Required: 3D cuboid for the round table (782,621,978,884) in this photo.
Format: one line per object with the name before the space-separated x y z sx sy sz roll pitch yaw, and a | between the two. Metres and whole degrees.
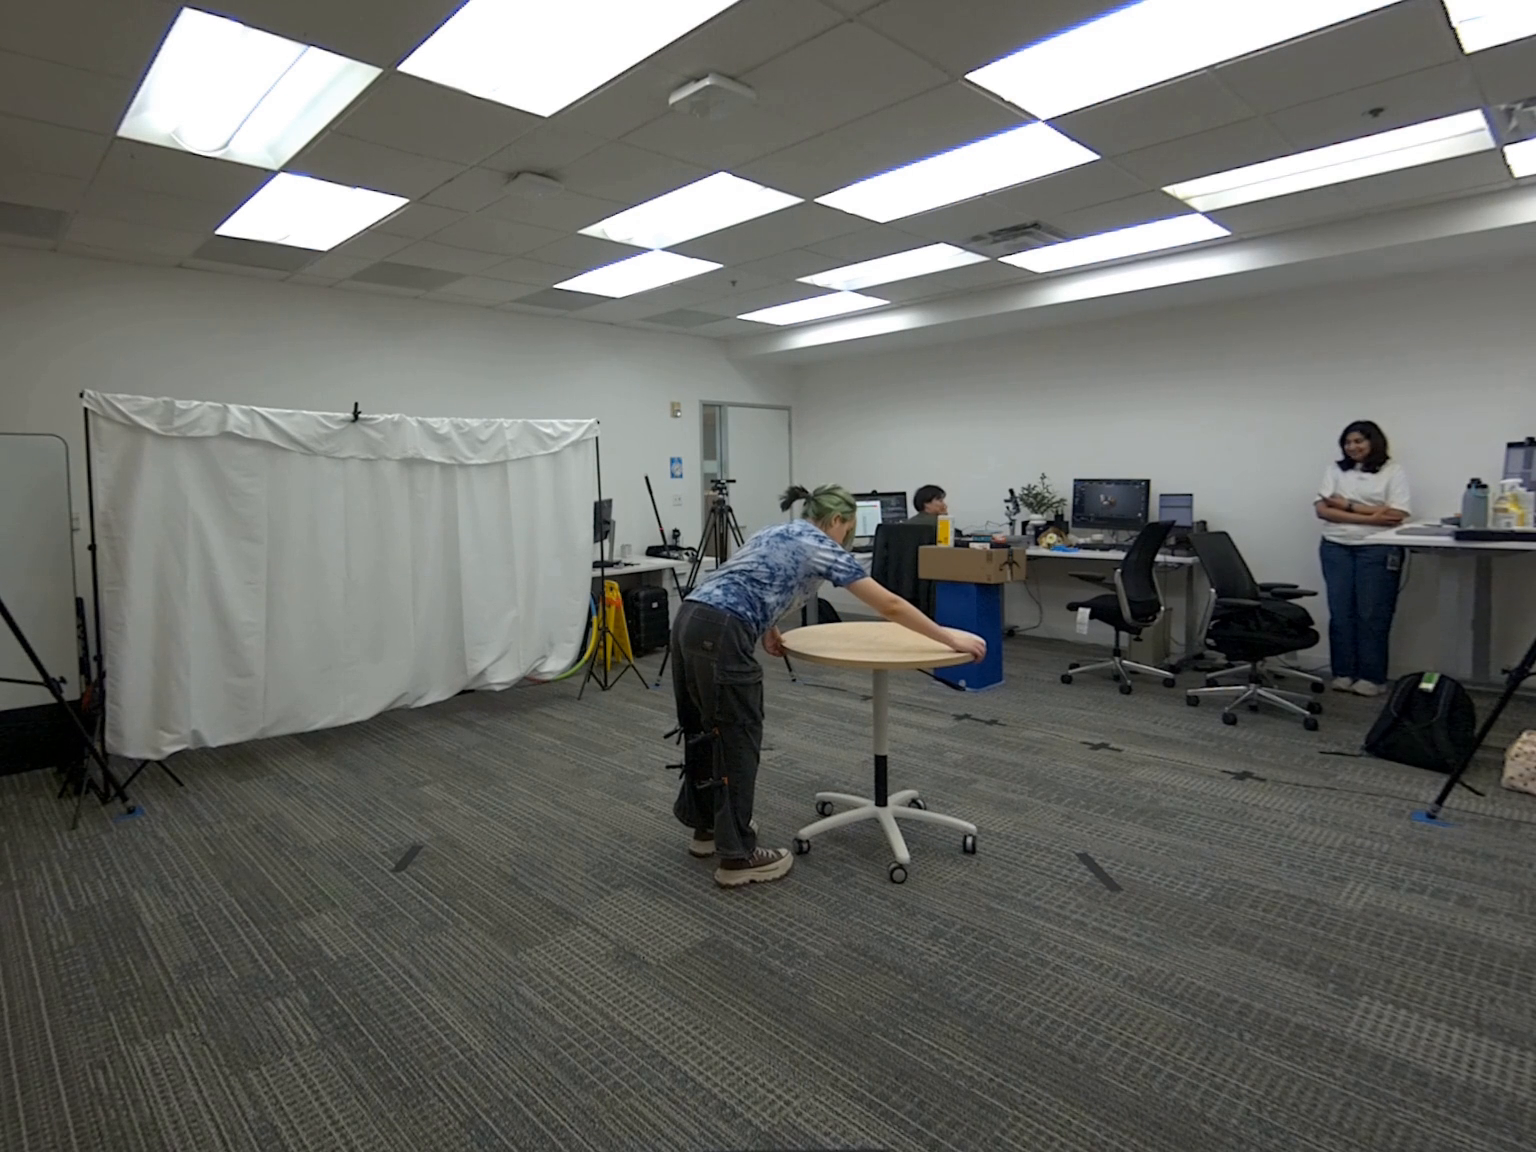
round table | 0.434 0.632 3.261 0.763 0.791 0.768 -1 5 -2
